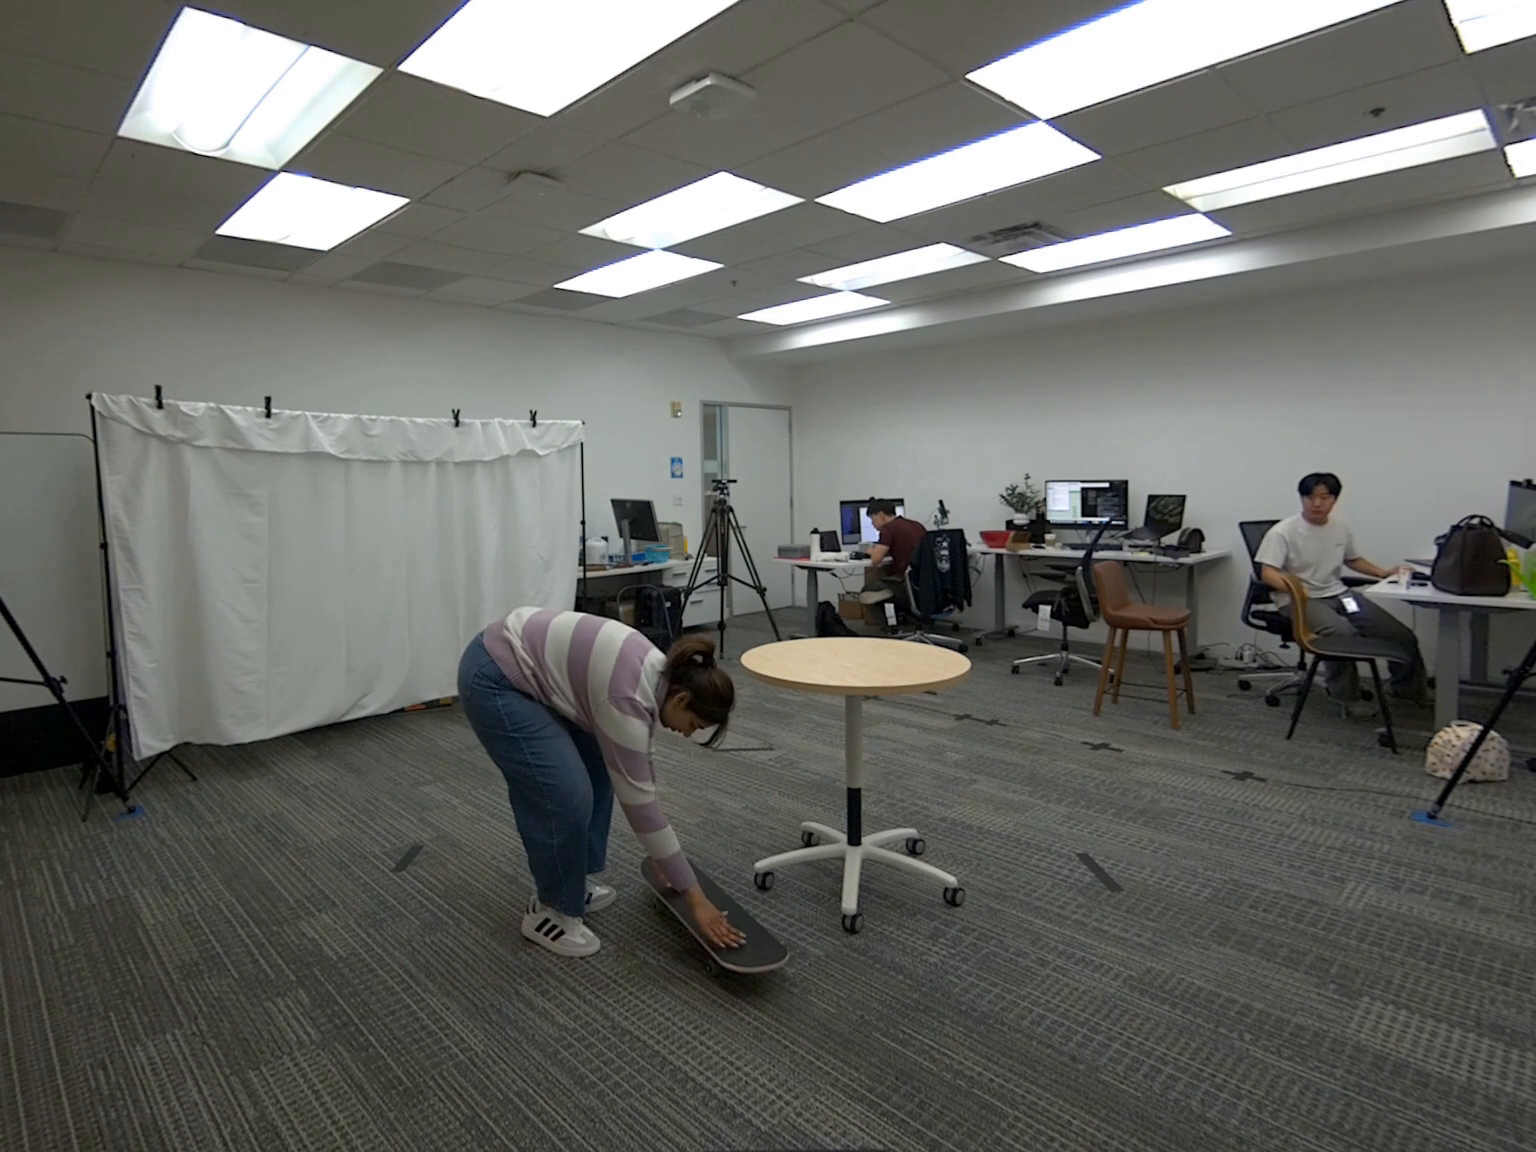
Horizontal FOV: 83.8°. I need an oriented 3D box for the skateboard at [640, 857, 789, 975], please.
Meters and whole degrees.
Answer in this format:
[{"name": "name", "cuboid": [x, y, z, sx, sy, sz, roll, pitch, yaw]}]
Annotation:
[{"name": "skateboard", "cuboid": [-0.188, 1.048, 2.622, 0.189, 0.110, 0.808, -5, 8, -30]}]
